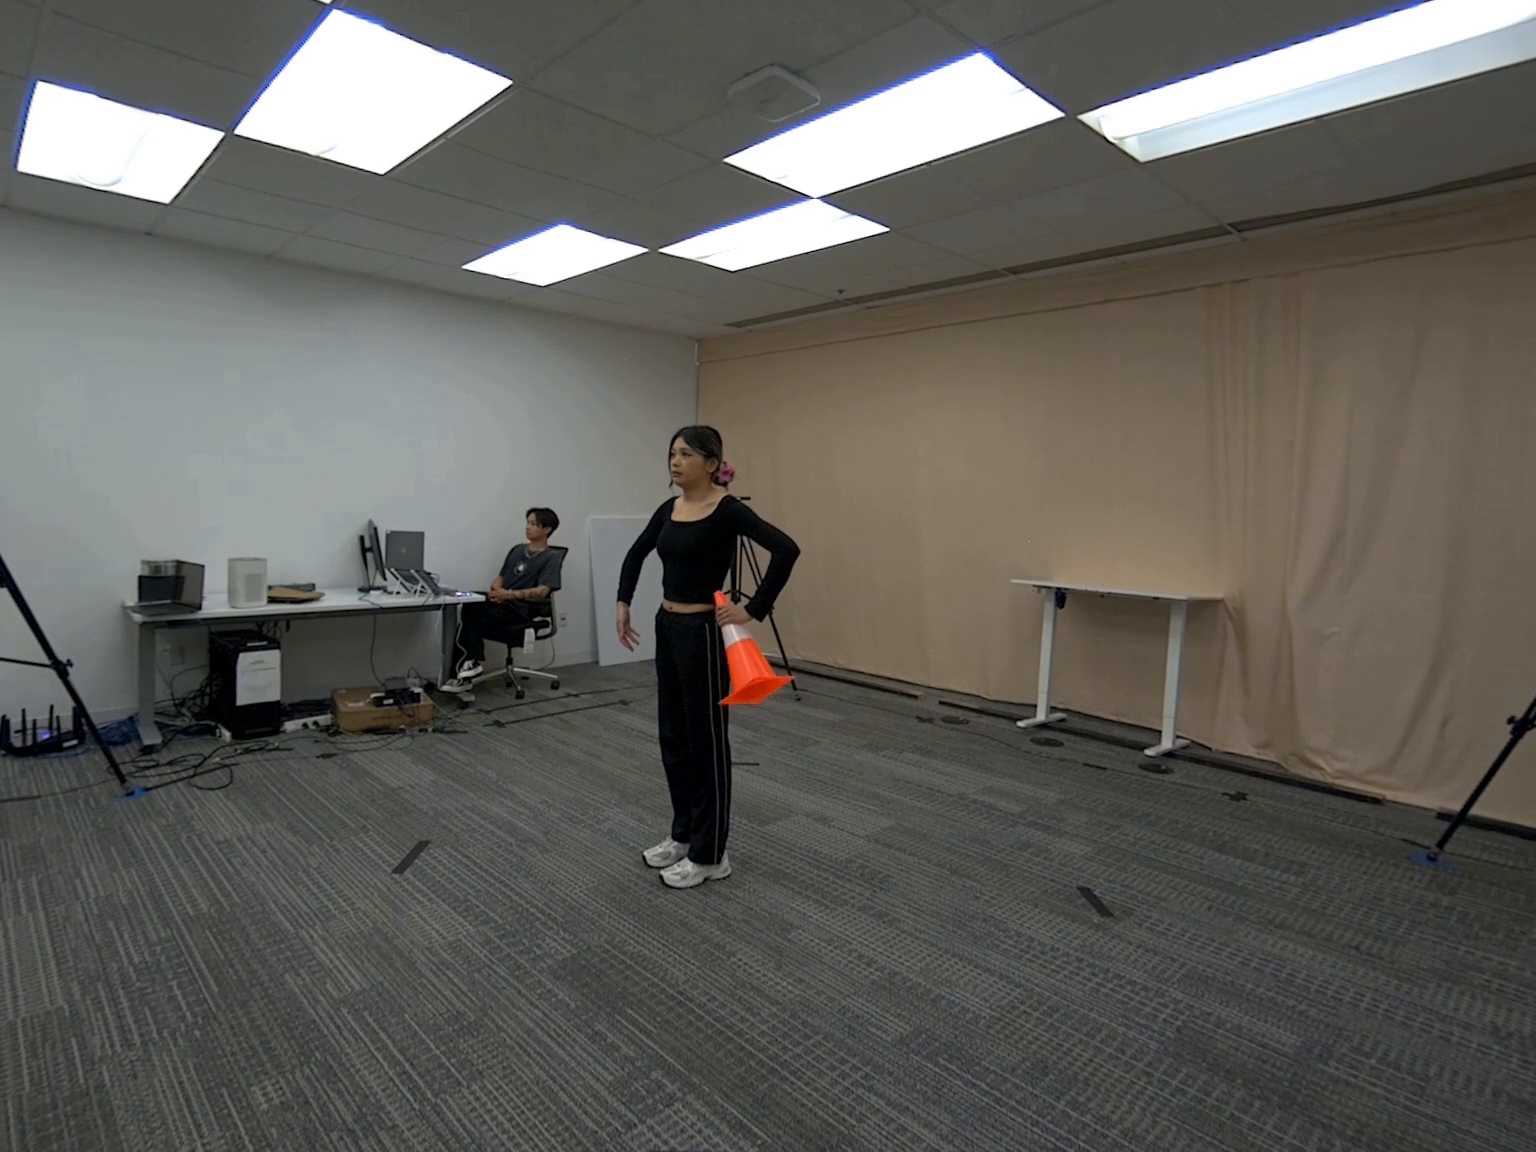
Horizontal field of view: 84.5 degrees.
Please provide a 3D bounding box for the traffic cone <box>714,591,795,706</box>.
[{"bbox_3d":[-0.125,0.224,2.871,0.198,0.393,0.205,7,-38,-44],"label":"traffic cone"}]
